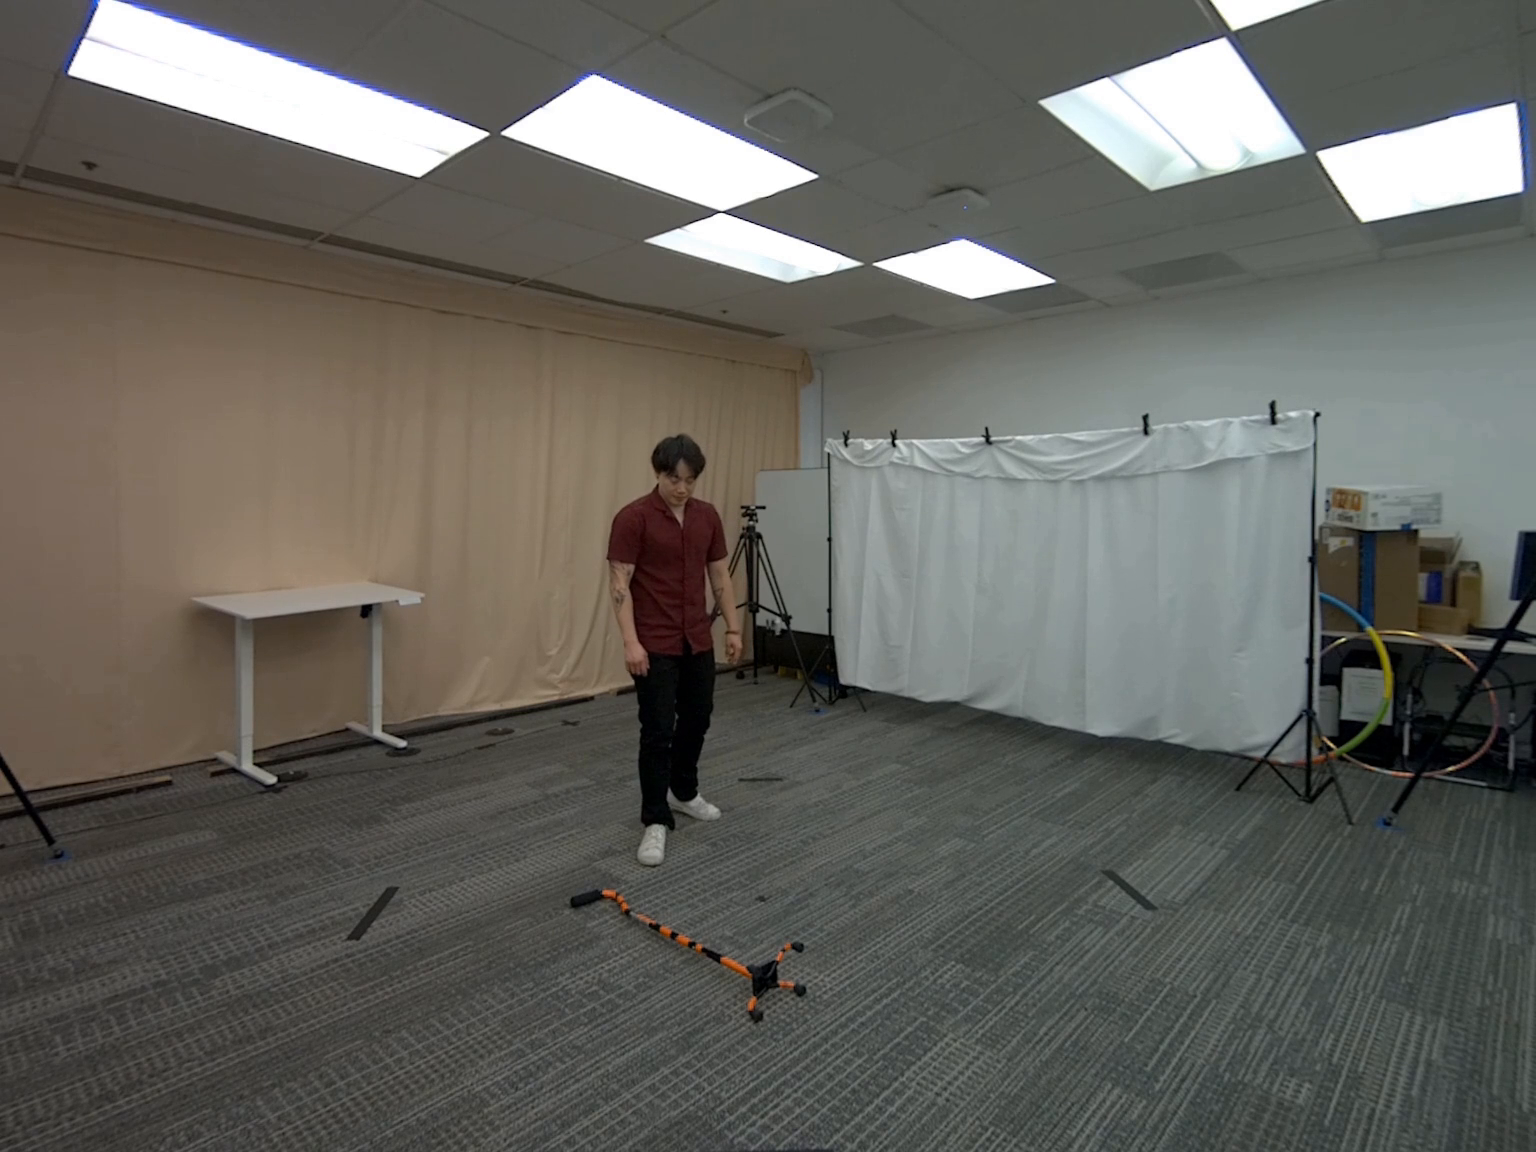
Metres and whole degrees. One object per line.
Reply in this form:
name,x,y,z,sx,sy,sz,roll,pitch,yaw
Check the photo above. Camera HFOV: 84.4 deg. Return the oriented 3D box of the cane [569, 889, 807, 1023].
cane,-0.291,1.121,2.652,0.937,0.151,0.200,0,2,45
